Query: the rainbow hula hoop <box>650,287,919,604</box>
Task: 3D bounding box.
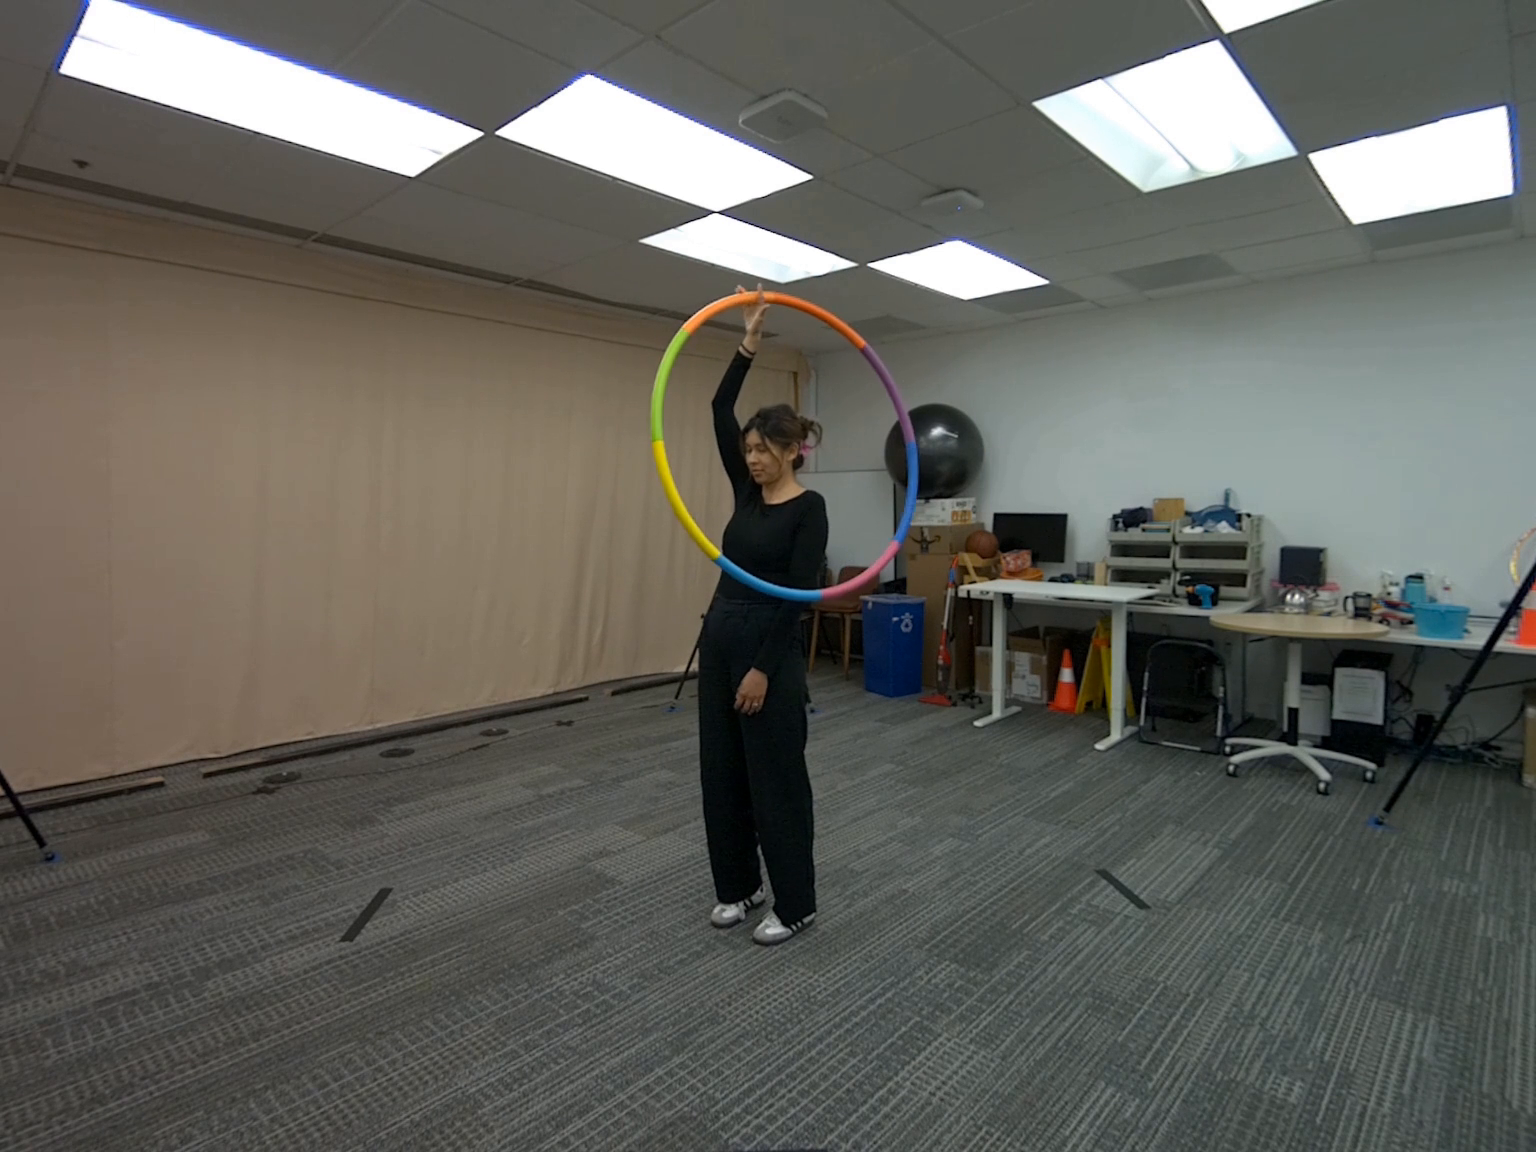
[{"bbox_3d":[0.087,-0.412,2.630,0.959,0.991,0.053,-2,-9,-30],"label":"rainbow hula hoop"}]
